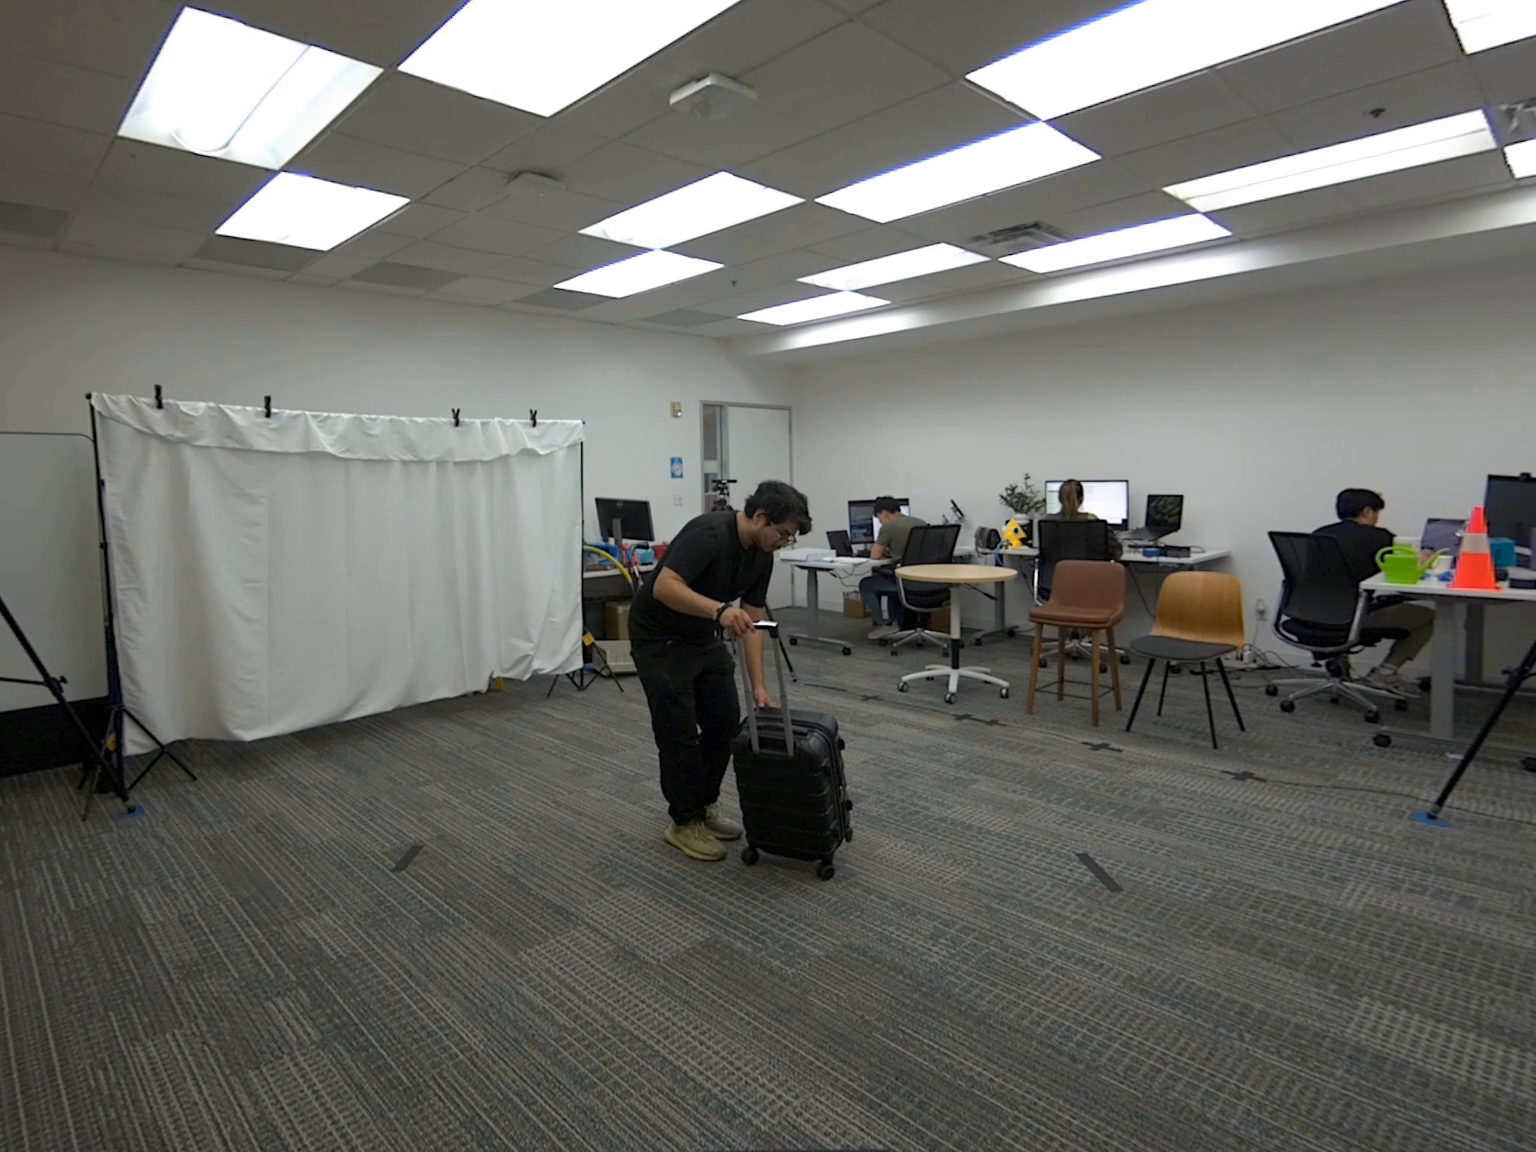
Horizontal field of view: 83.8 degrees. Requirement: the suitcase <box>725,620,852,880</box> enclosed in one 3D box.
[{"bbox_3d":[0.067,0.563,2.988,0.393,0.961,0.256,2,21,26],"label":"suitcase"}]
